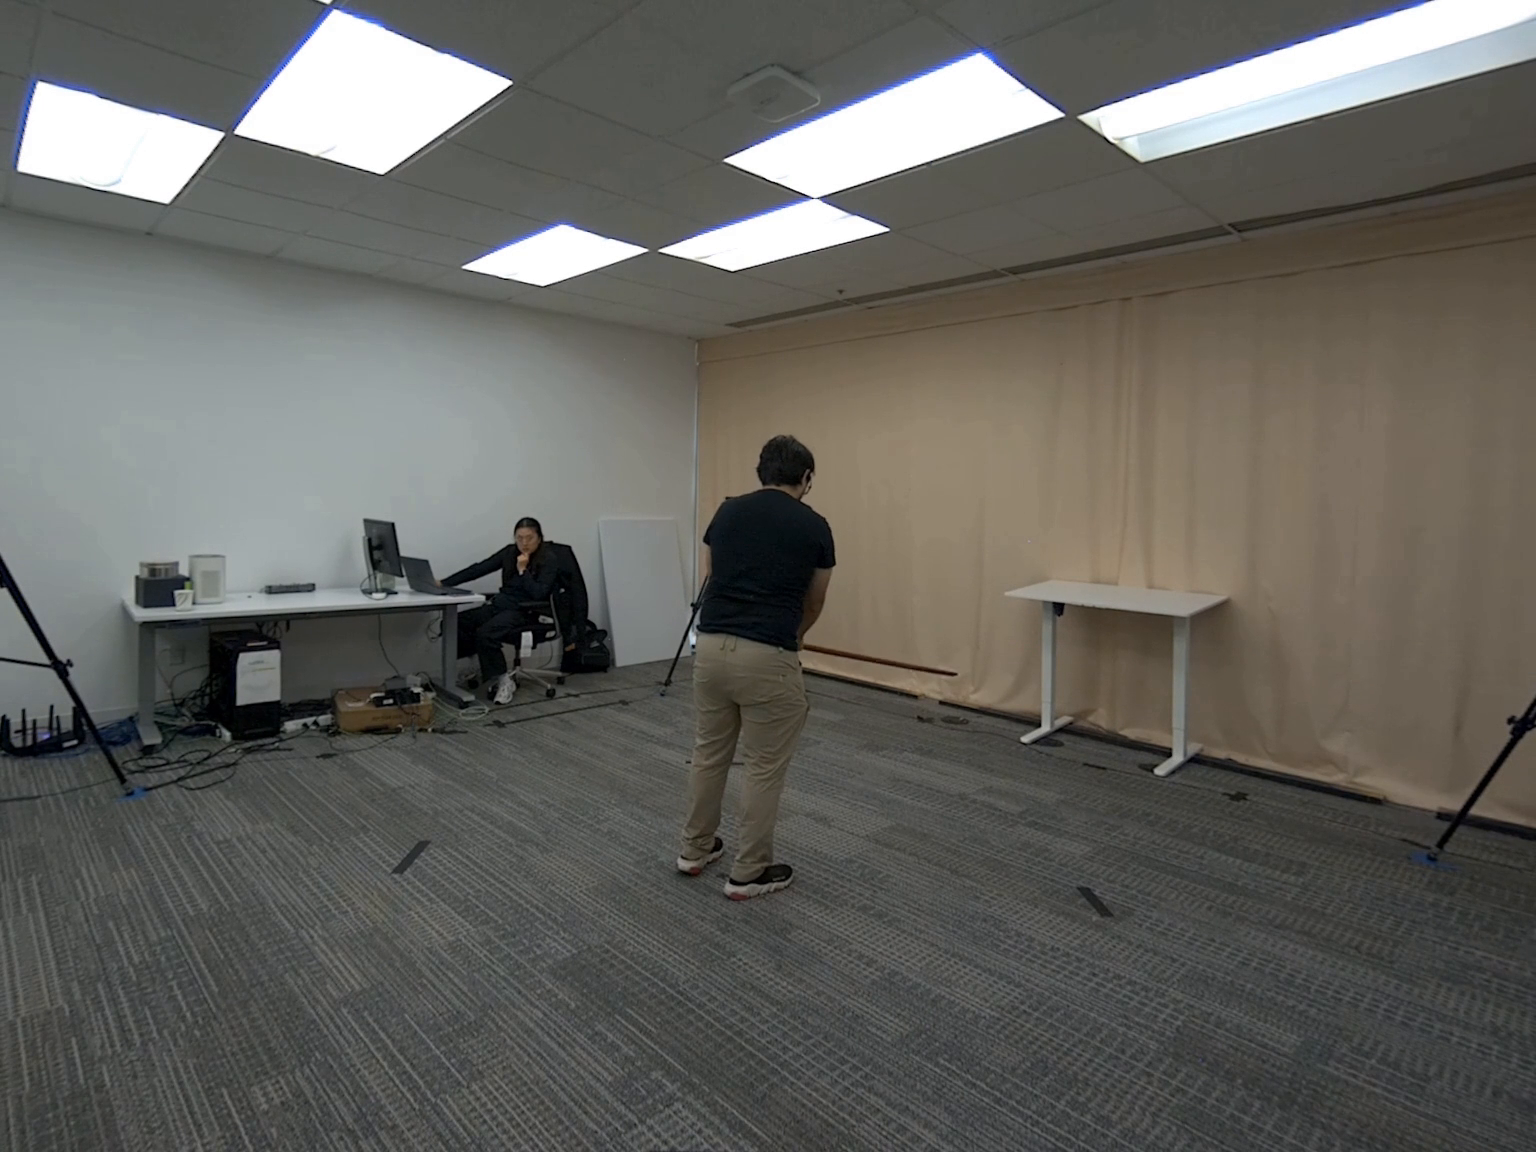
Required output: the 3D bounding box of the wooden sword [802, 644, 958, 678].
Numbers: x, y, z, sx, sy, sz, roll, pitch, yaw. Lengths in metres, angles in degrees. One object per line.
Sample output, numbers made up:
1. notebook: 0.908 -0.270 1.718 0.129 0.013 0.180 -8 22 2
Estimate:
1. wooden sword: 0.373 0.342 3.551 1.009 0.024 0.052 12 41 -17
